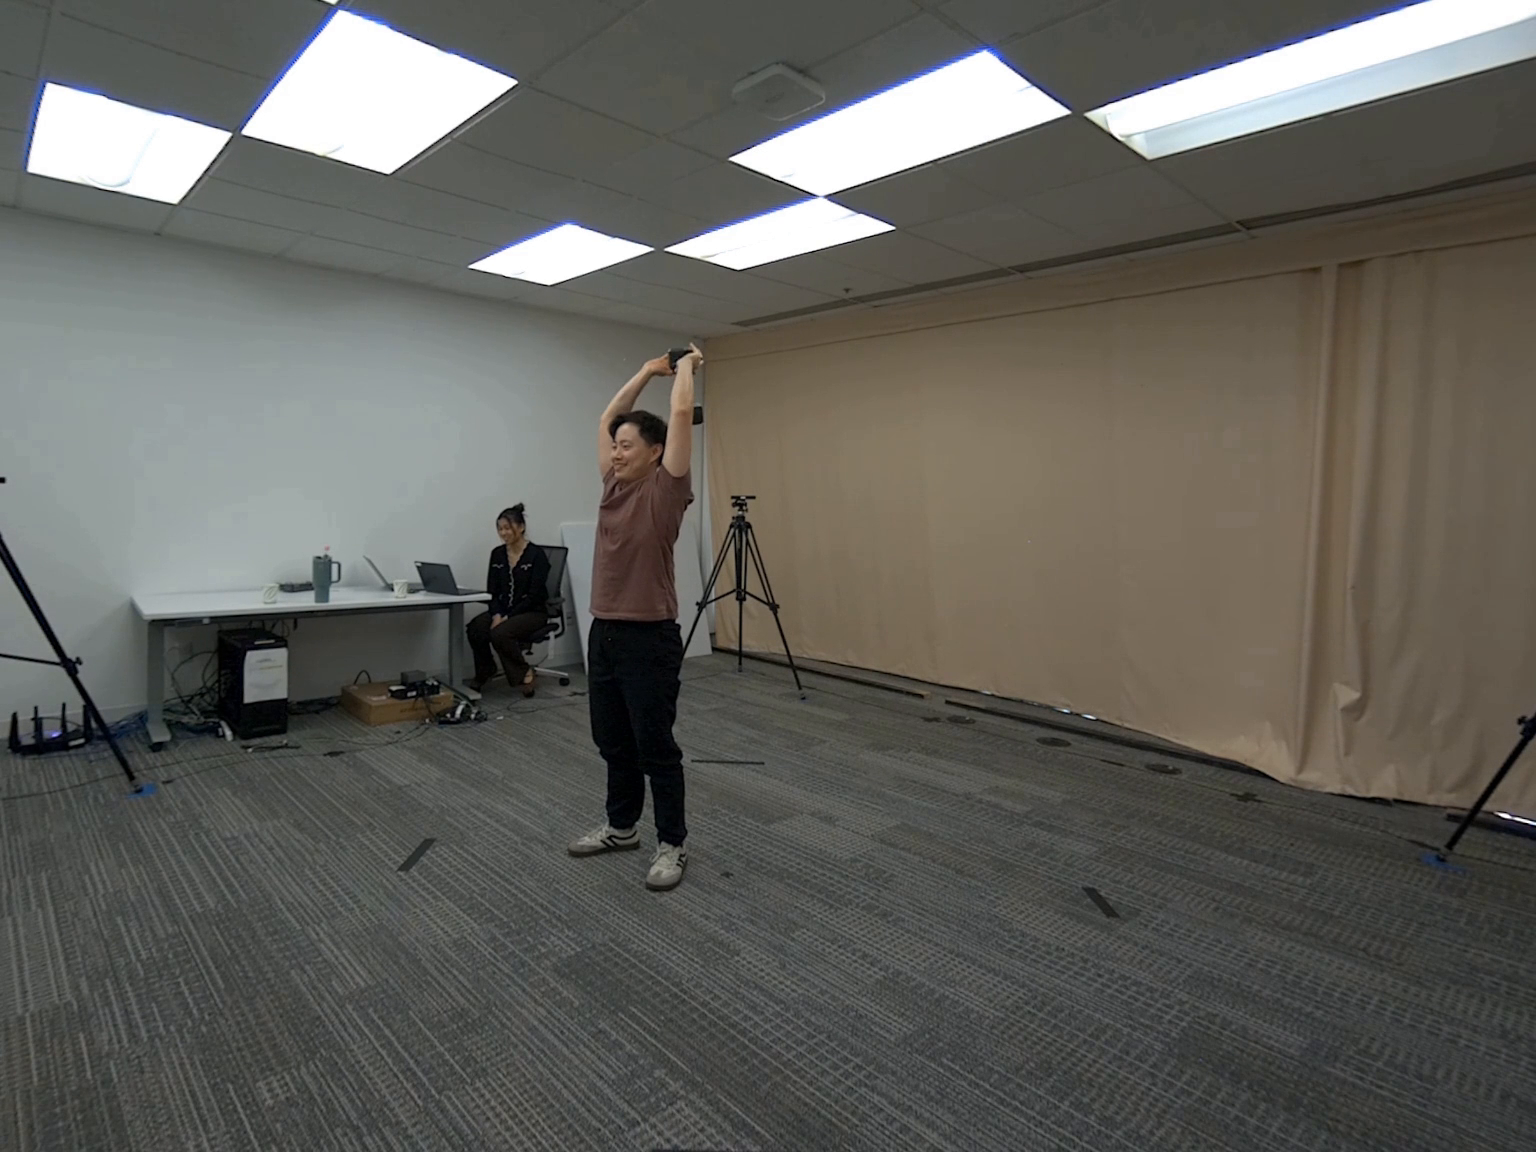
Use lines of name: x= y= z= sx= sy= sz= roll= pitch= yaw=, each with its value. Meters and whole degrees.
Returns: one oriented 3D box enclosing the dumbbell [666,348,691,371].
dumbbell: x=-0.321 y=-0.719 z=3.222 sx=0.121 sy=0.290 sz=0.111 roll=-16 pitch=17 yaw=-33
